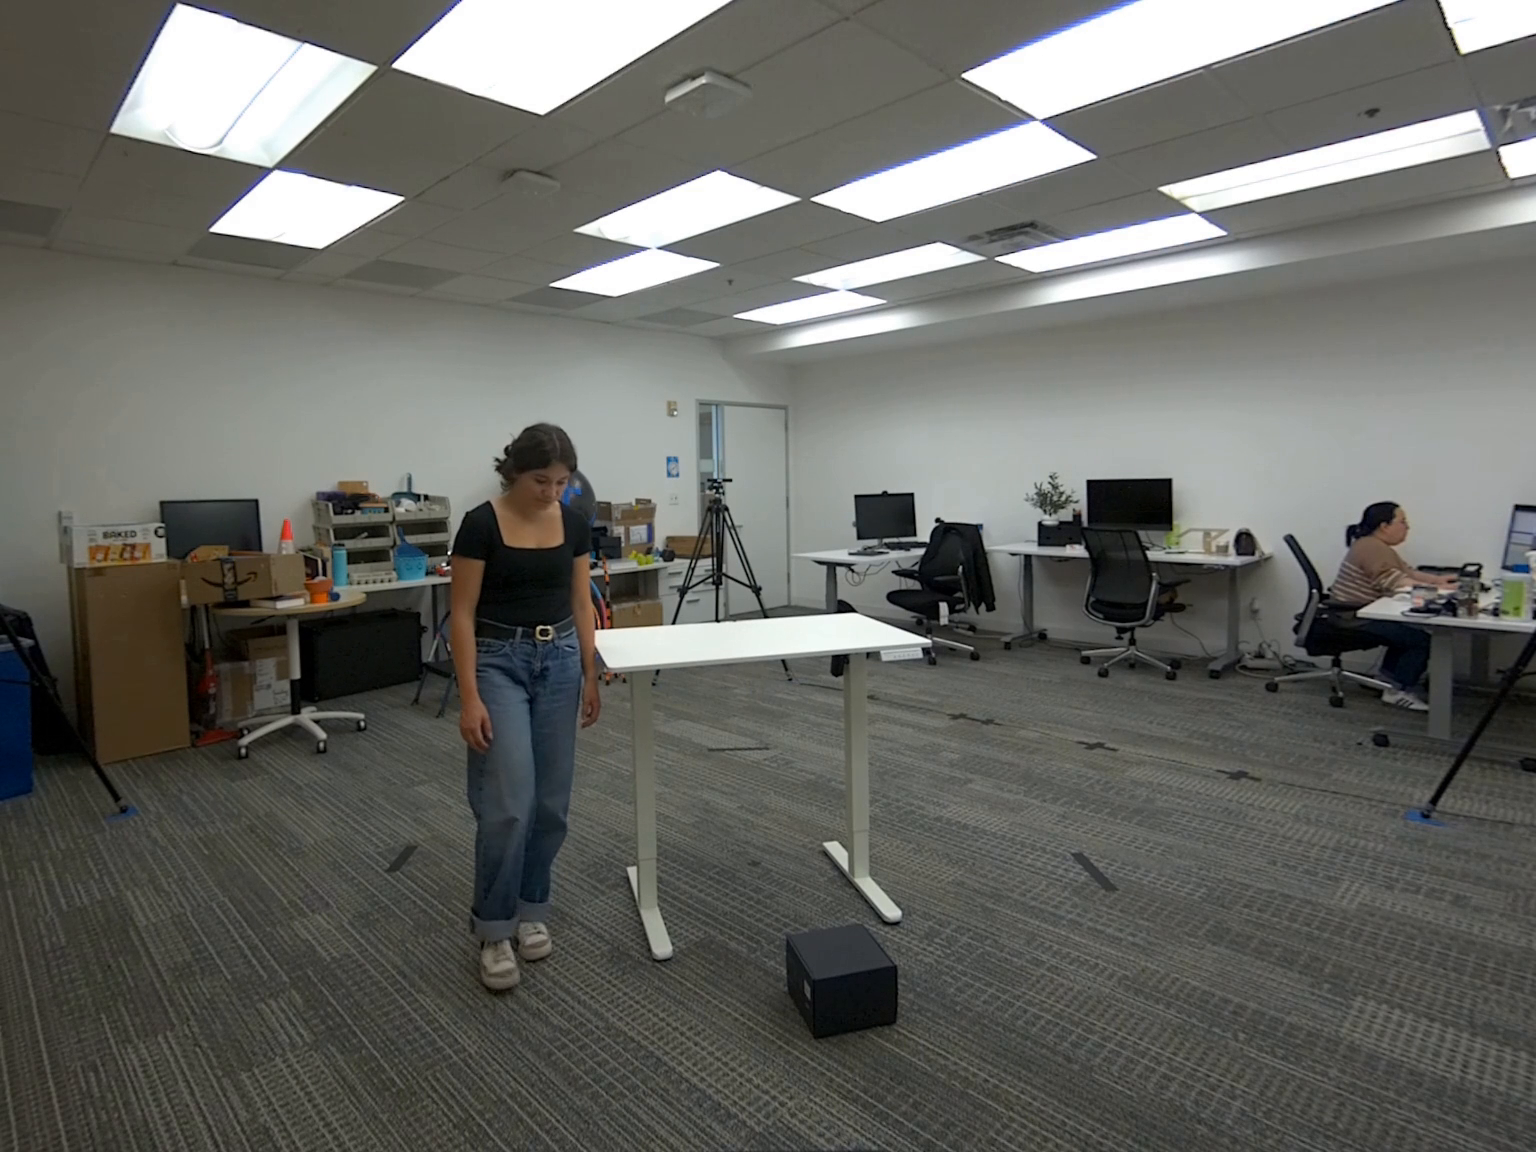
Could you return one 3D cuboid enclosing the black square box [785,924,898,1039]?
[{"bbox_3d":[0.196,1.059,2.248,0.225,0.155,0.221,-2,5,-15],"label":"black square box"}]
